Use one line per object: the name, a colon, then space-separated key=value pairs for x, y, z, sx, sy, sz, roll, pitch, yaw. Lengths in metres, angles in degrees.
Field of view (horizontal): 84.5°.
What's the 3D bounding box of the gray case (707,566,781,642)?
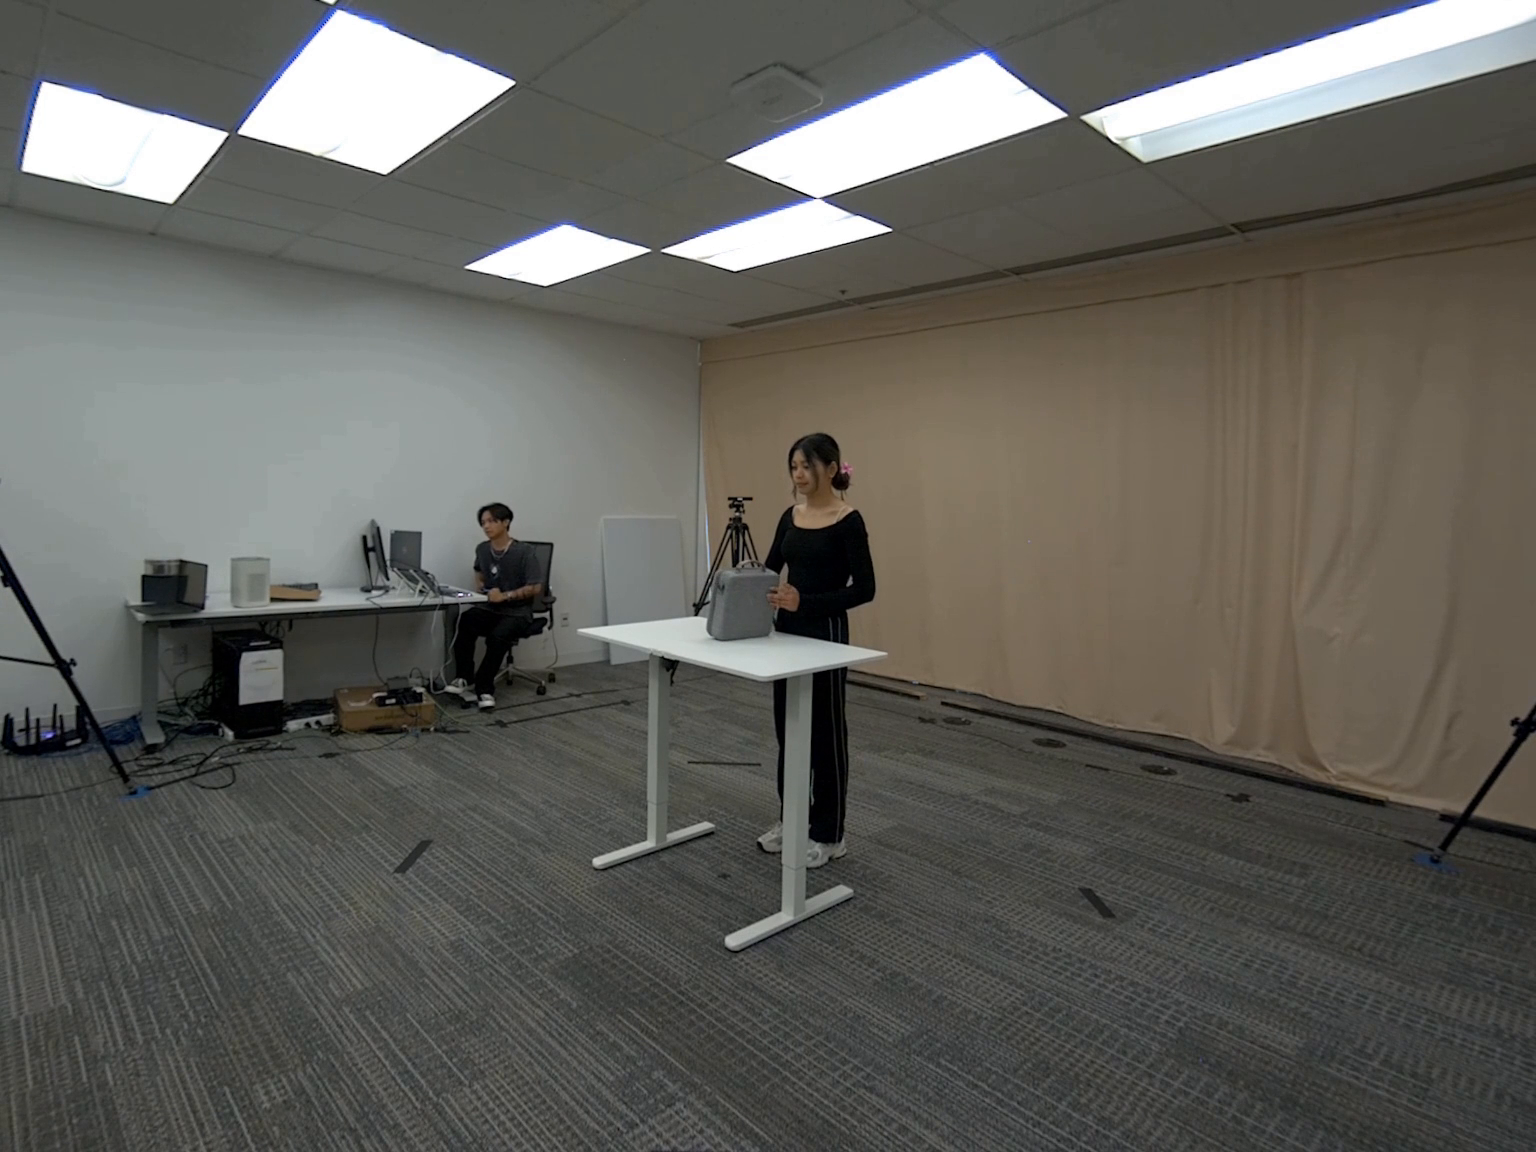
gray case: x=-0.095 y=0.099 z=3.066 sx=0.251 sy=0.259 sz=0.107 roll=-2 pitch=15 yaw=-40
